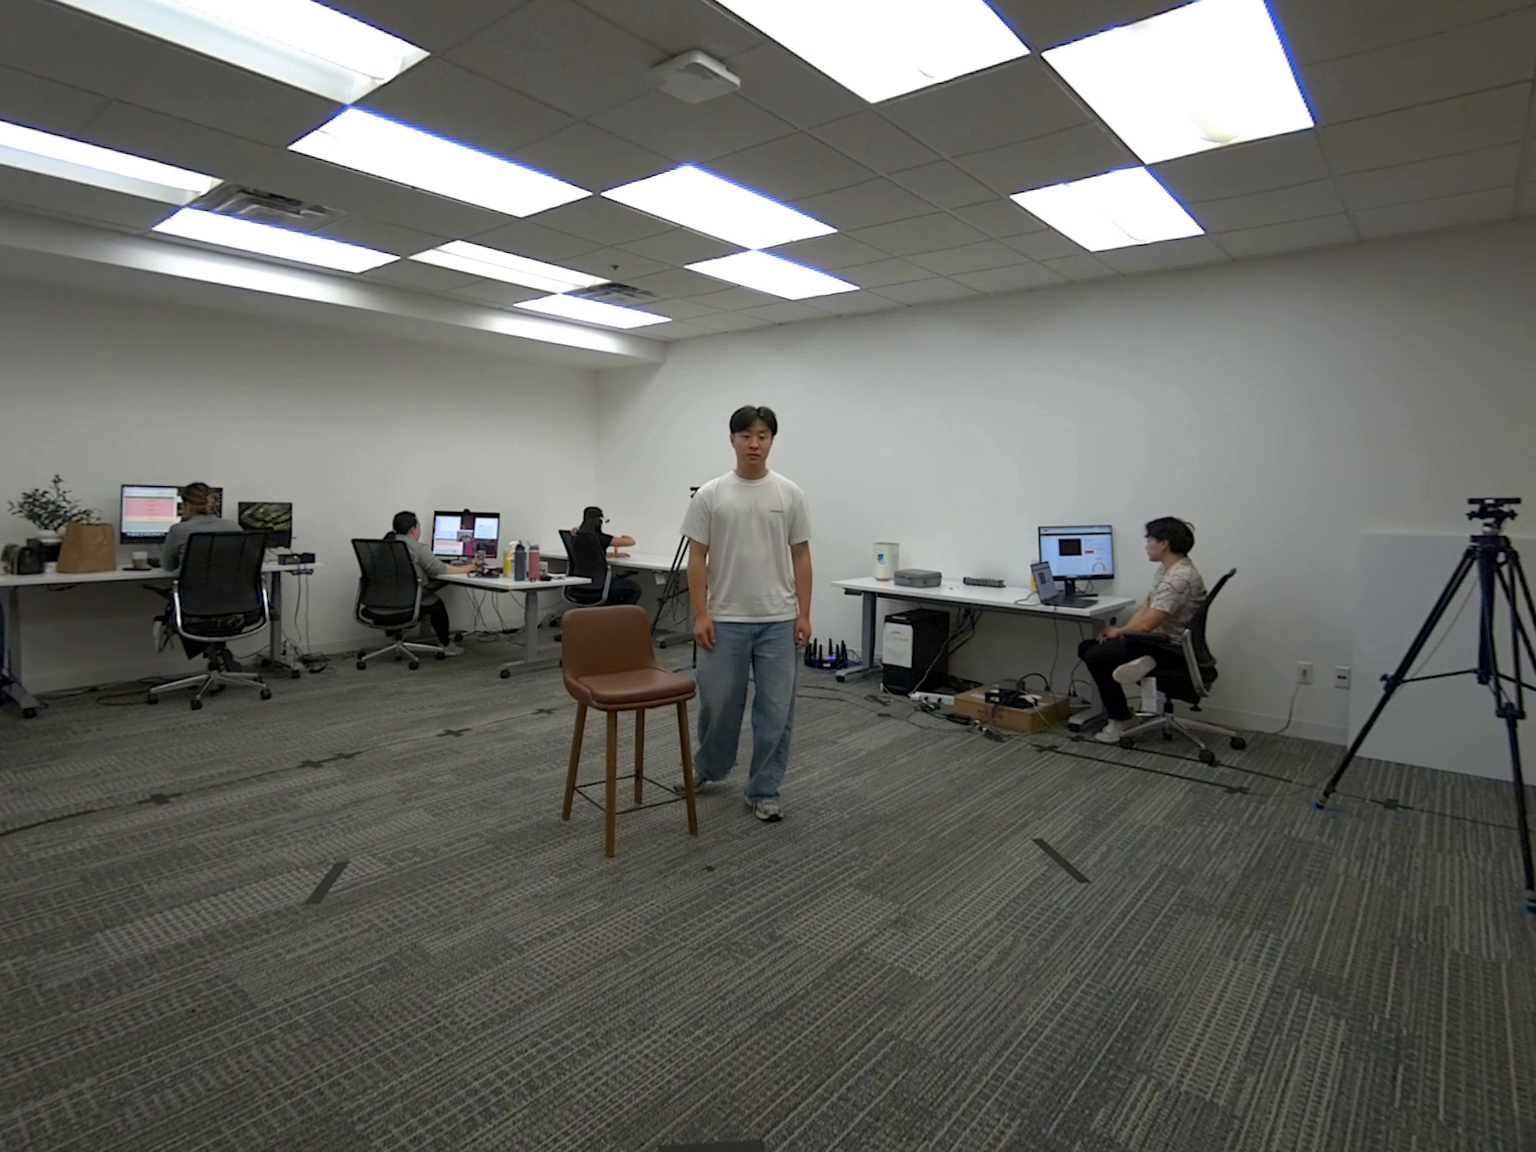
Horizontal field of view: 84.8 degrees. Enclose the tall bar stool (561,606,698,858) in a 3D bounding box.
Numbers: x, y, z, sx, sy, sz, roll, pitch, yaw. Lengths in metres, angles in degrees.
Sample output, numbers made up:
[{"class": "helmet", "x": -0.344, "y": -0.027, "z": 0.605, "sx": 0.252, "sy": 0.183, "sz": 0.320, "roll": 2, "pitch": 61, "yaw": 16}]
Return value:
[{"class": "tall bar stool", "x": -0.587, "y": 0.589, "z": 3.459, "sx": 0.443, "sy": 0.888, "sz": 0.482, "roll": -1, "pitch": 2, "yaw": -37}]
